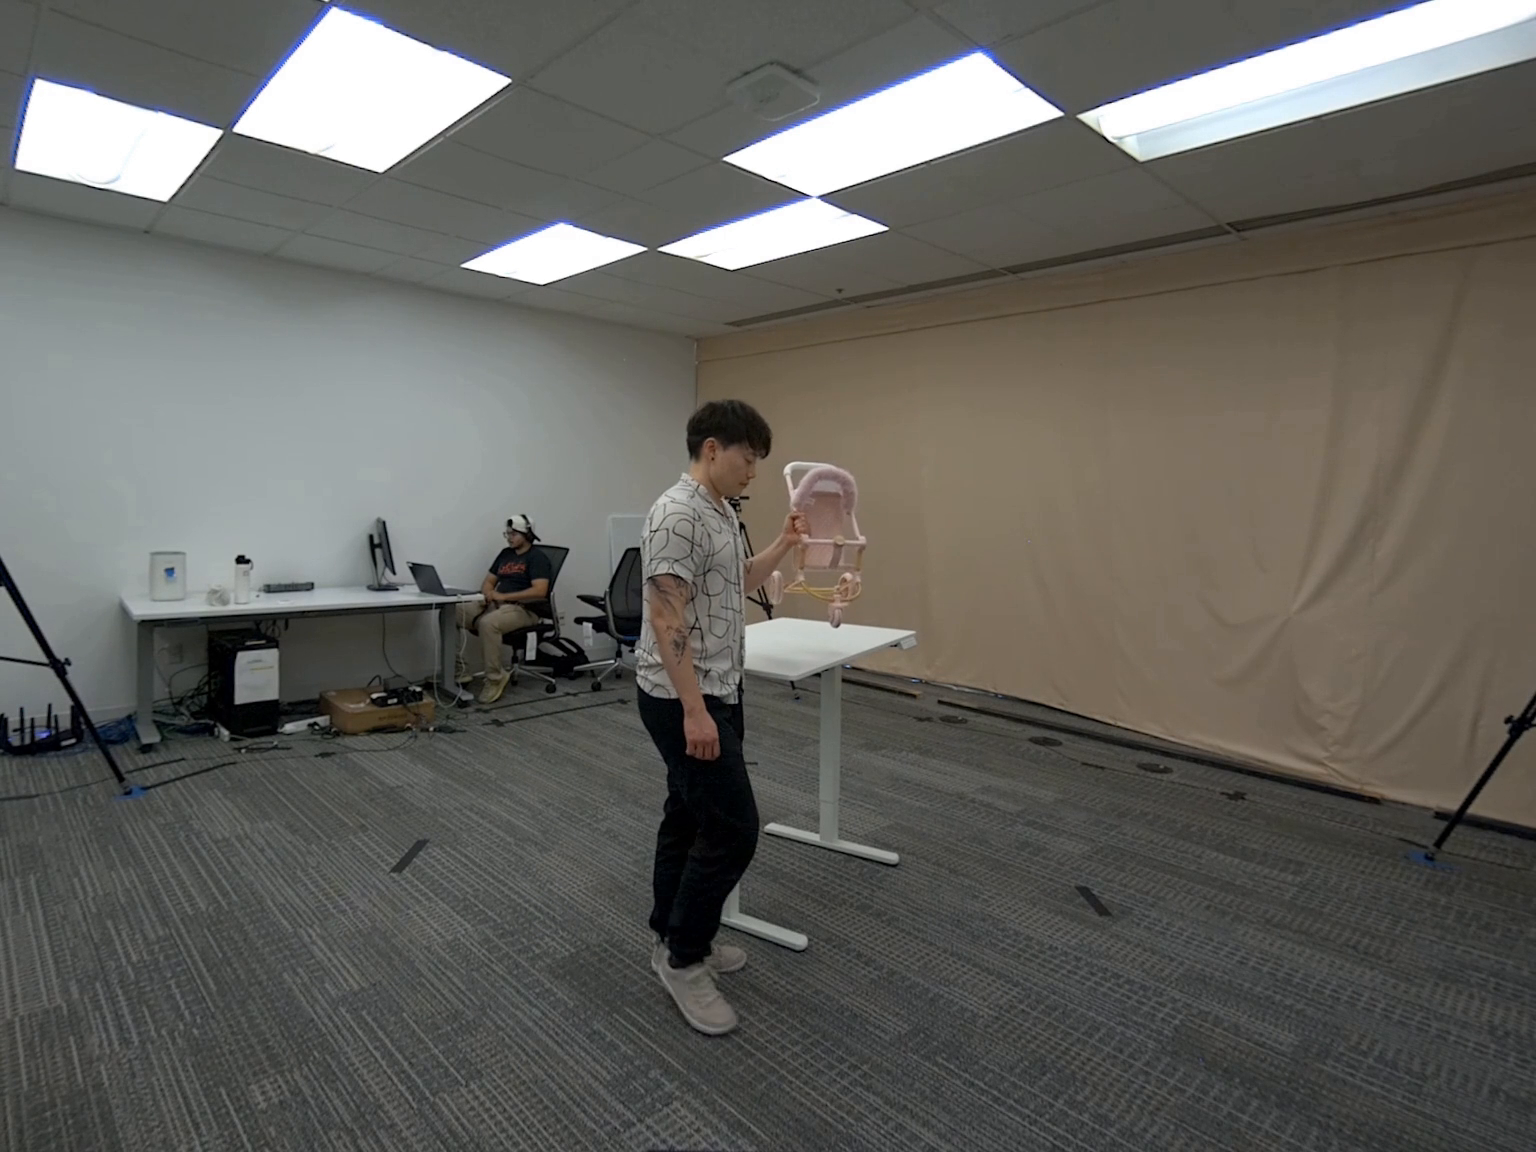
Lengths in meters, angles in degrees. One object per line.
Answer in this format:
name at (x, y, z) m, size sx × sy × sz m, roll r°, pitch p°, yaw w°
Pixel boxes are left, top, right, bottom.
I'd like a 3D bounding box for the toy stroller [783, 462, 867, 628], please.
toy stroller at (0.171, -0.110, 2.689) m, size 0.279 × 0.535 × 0.344 m, roll 3°, pitch 0°, yaw -12°
